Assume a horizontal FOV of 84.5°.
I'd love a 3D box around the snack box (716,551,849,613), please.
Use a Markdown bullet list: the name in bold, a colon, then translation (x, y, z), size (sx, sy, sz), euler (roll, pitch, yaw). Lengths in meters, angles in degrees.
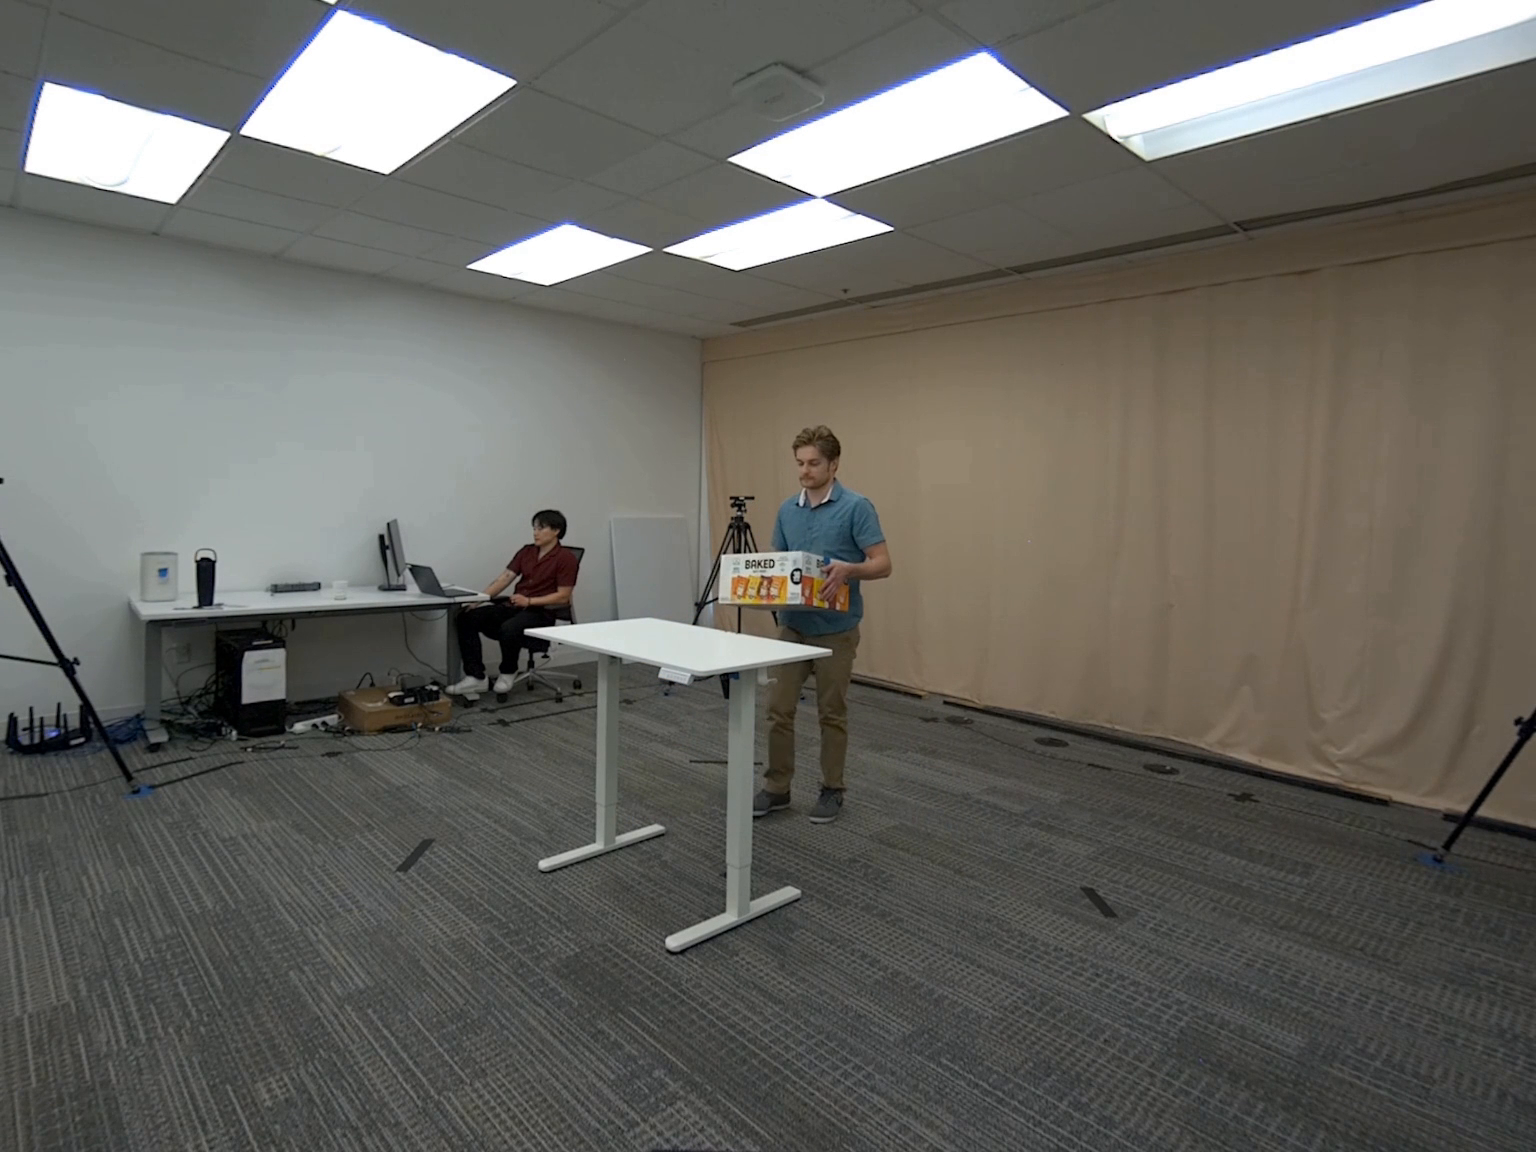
- **snack box**: translation (0.050, 0.030, 3.433), size (0.414, 0.207, 0.331), euler (-1, -9, 38)
